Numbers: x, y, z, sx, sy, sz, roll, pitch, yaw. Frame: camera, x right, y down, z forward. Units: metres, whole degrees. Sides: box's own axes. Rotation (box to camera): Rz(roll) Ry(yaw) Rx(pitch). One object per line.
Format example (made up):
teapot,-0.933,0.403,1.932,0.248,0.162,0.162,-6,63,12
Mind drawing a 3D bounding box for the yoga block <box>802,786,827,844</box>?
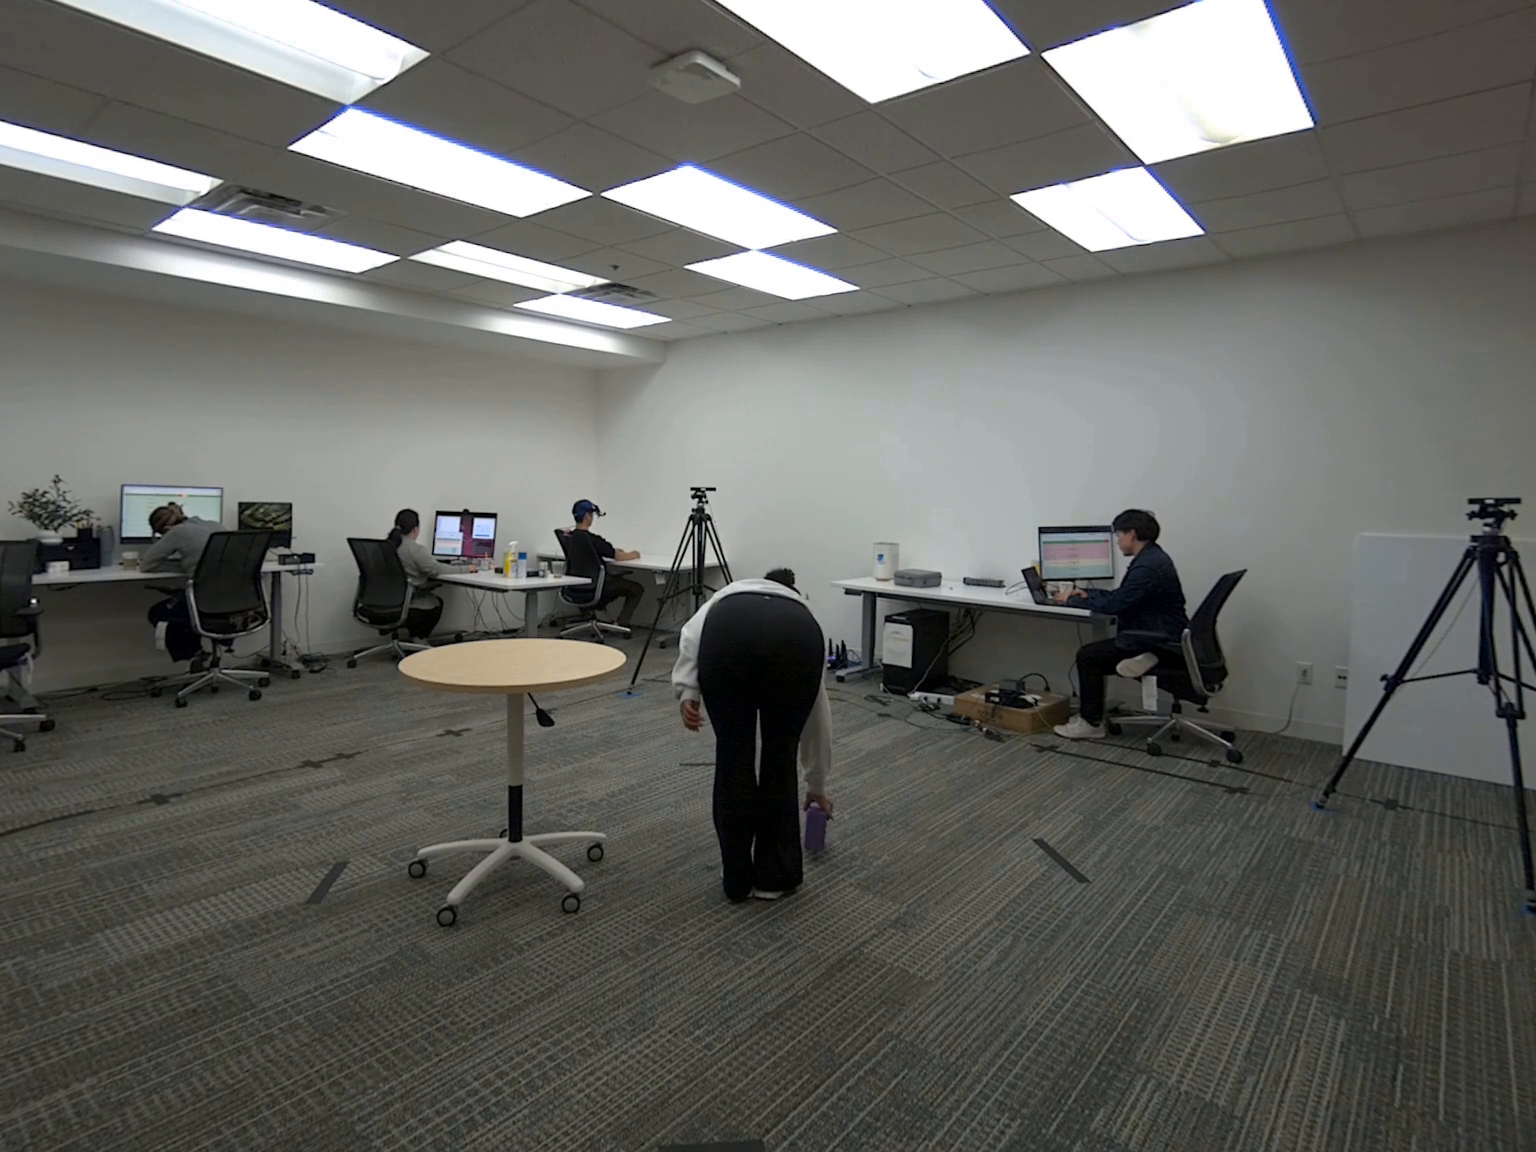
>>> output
yoga block,0.180,0.924,3.270,0.076,0.149,0.228,2,0,1
